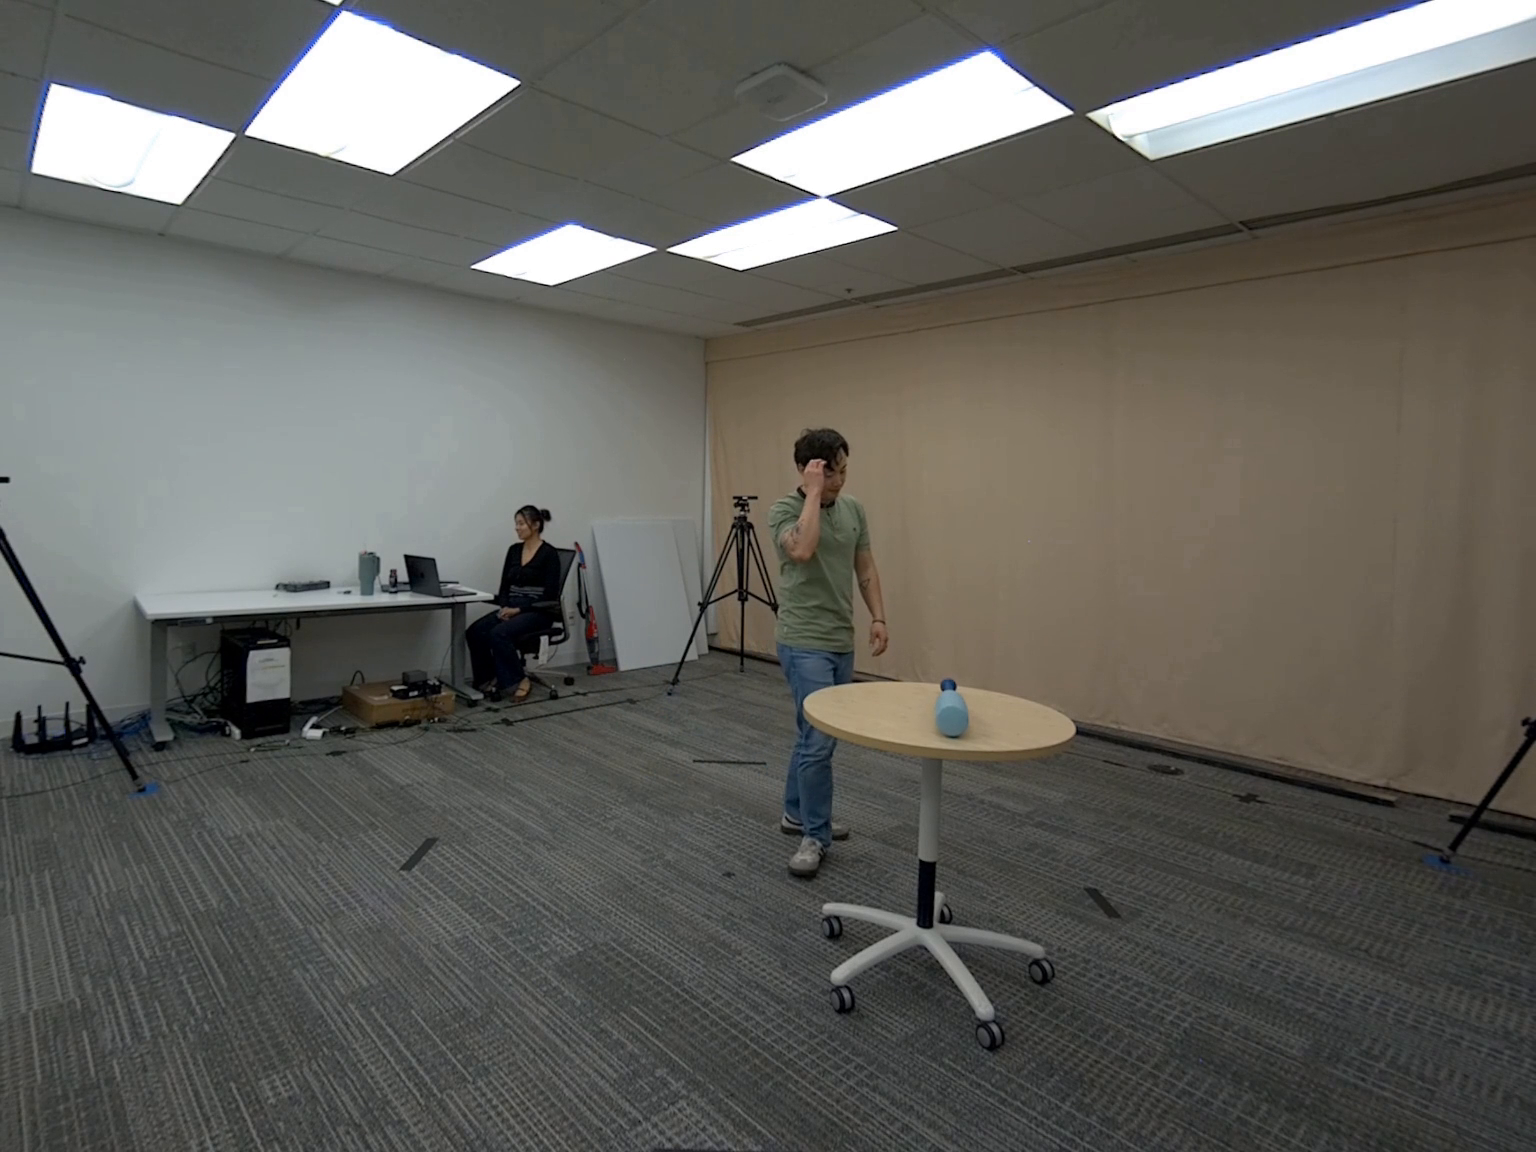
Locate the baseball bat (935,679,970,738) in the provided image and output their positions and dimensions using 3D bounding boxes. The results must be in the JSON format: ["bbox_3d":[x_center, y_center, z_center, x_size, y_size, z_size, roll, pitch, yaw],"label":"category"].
[{"bbox_3d":[0.523,0.367,2.410,0.090,0.089,0.538,2,3,11],"label":"baseball bat"}]
